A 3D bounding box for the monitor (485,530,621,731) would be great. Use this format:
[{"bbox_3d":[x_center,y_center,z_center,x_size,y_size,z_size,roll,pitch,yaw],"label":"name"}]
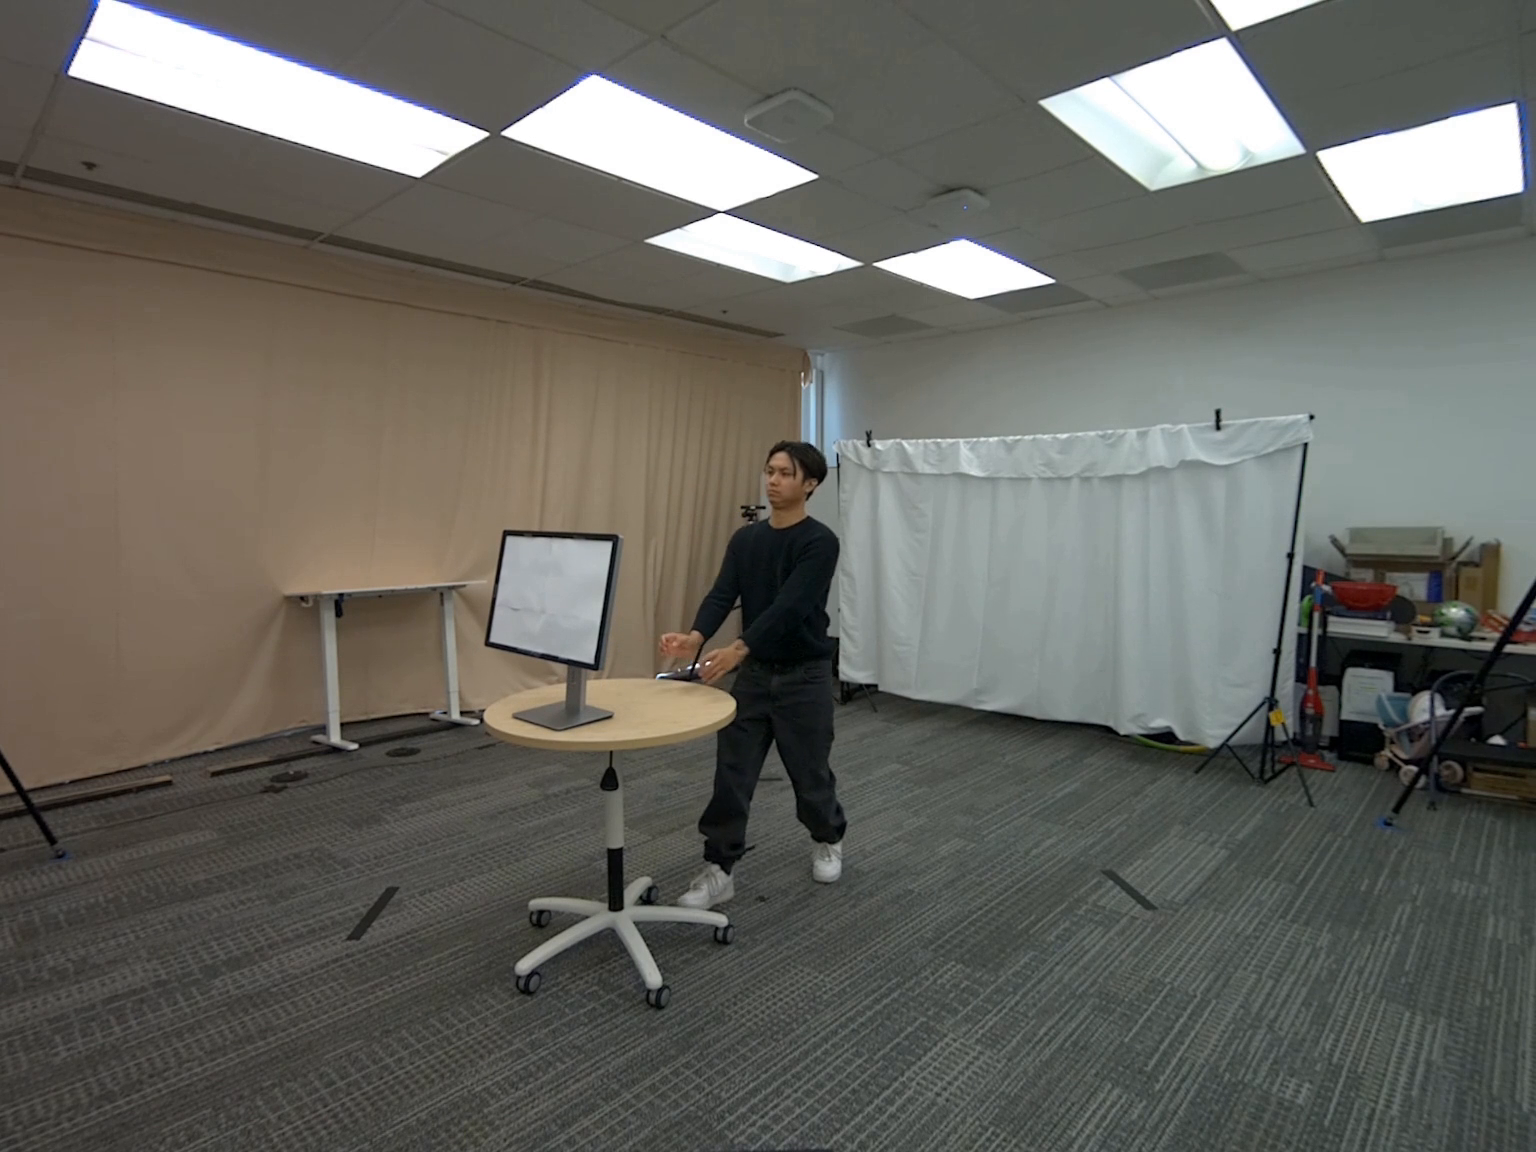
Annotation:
[{"bbox_3d":[-0.609,0.147,2.433,0.548,0.513,0.170,5,11,41],"label":"monitor"}]
